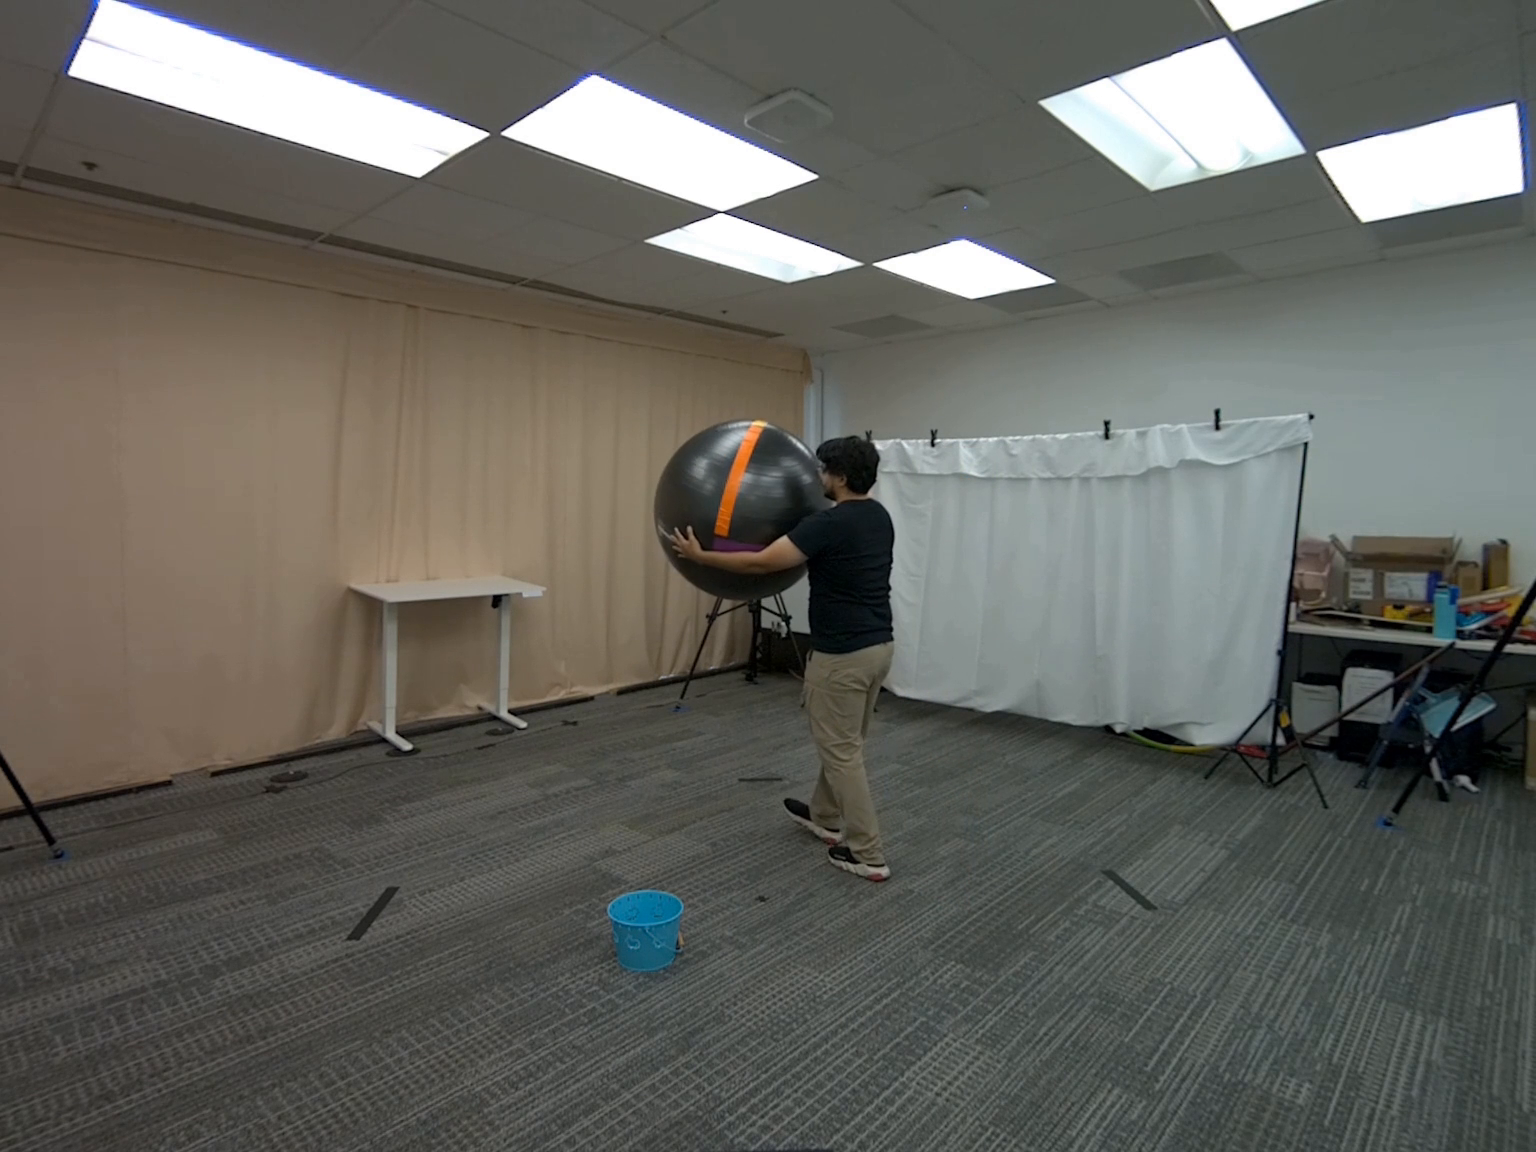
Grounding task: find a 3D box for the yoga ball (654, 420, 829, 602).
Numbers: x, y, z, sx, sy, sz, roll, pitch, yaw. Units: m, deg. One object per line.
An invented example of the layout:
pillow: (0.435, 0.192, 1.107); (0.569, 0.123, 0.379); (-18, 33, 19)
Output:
yoga ball: (-0.105, -0.270, 3.573); (0.757, 0.756, 0.760); (0, 4, -2)
